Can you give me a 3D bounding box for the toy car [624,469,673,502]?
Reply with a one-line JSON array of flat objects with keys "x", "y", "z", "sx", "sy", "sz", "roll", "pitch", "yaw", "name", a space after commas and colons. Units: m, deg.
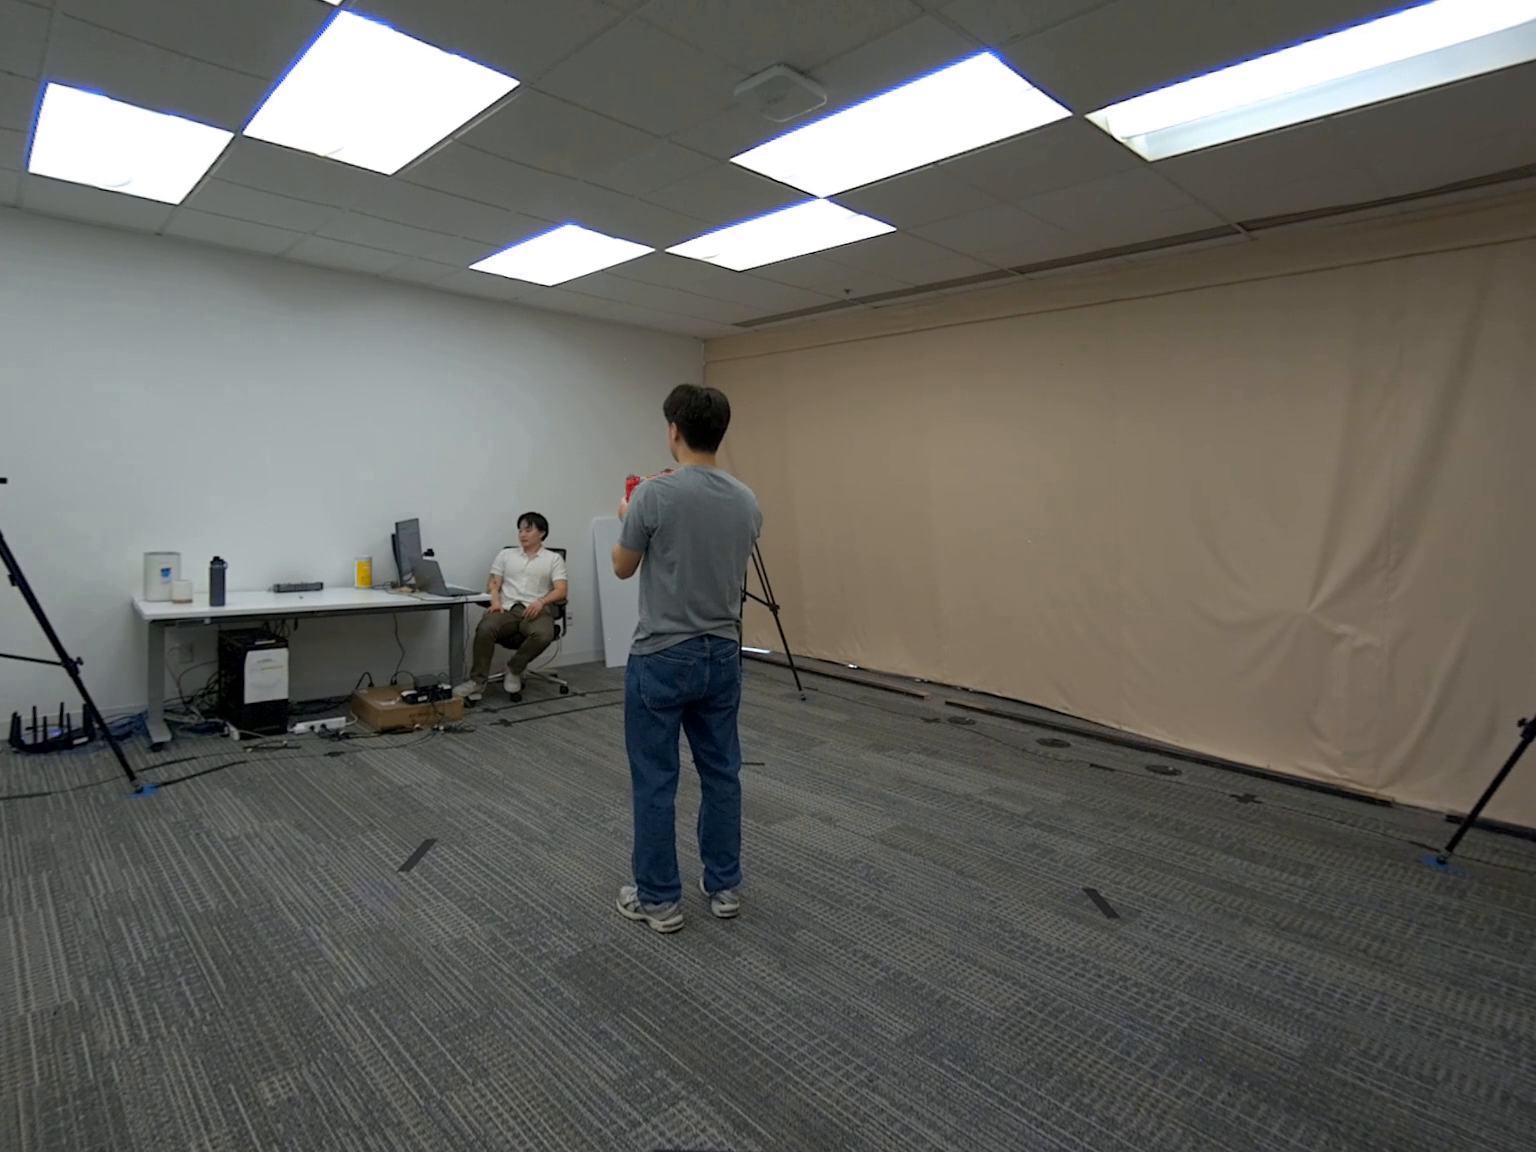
[{"x": -0.403, "y": -0.318, "z": 3.066, "sx": 0.251, "sy": 0.129, "sz": 0.085, "roll": -11, "pitch": 9, "yaw": -23, "name": "toy car"}]
